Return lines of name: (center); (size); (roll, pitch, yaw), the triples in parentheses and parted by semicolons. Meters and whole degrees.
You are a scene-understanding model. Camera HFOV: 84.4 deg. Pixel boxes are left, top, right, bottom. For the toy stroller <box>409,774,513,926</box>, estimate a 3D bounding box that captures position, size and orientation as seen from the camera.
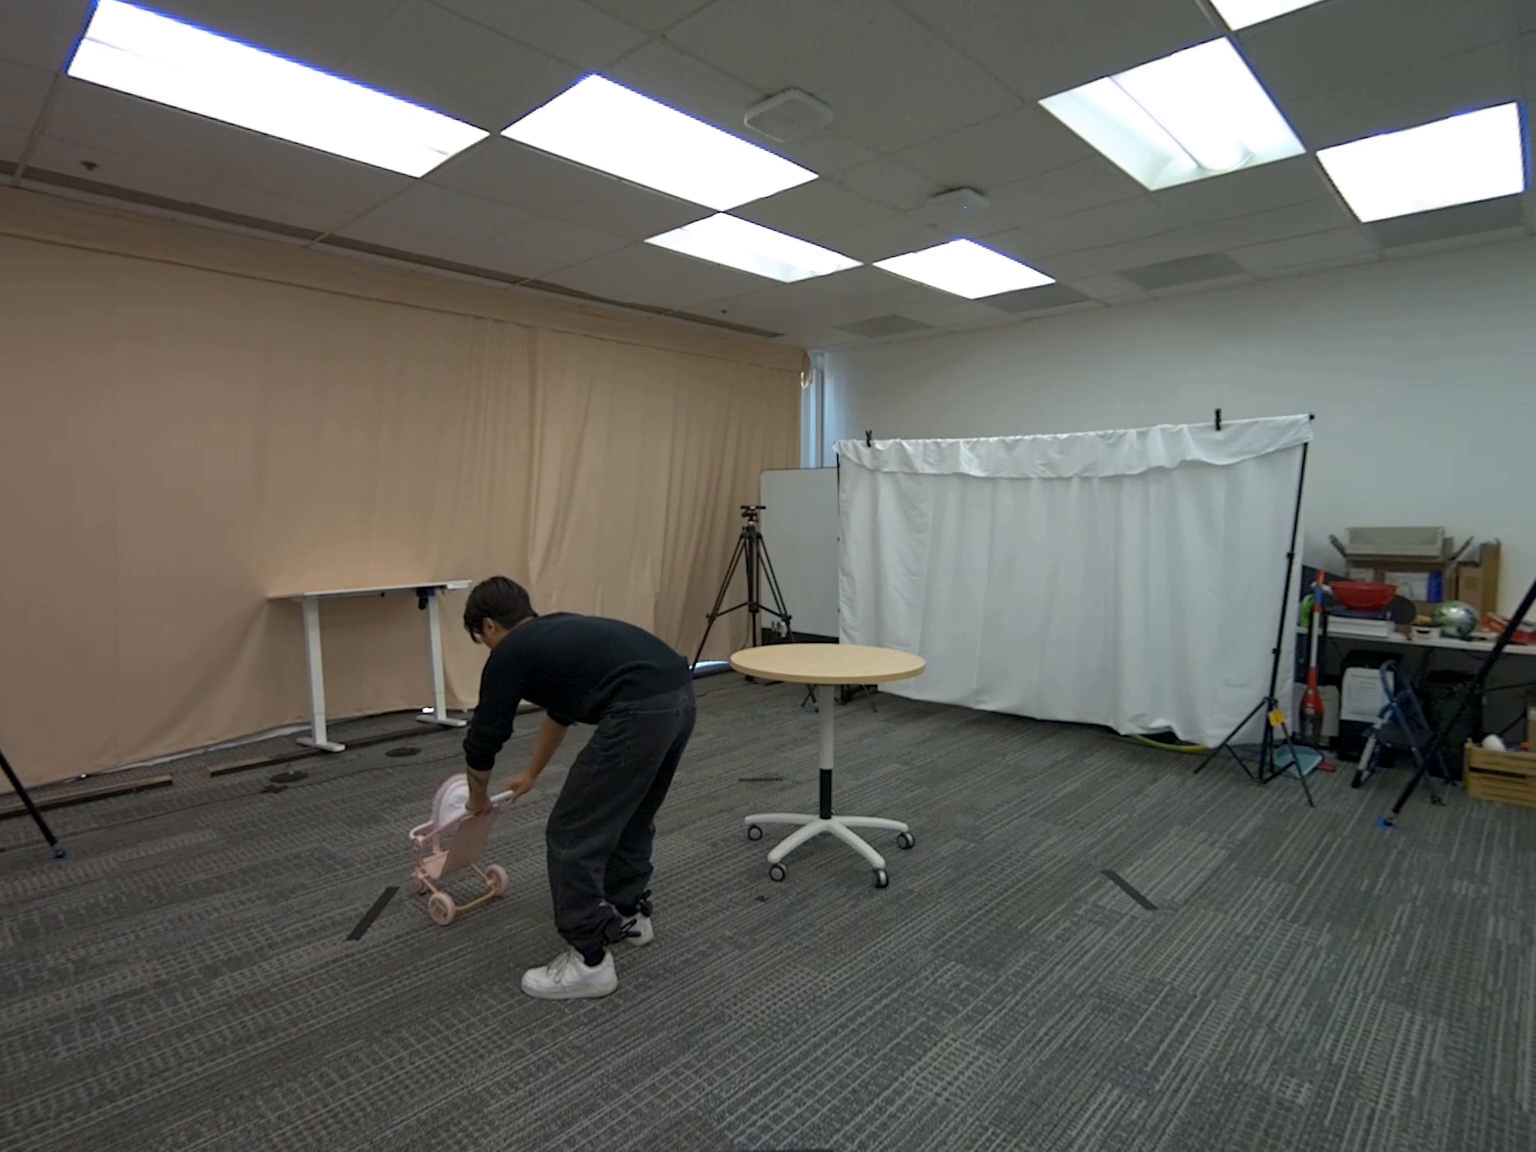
toy stroller: (-1.093, 0.931, 2.943); (0.353, 0.532, 0.273); (21, 14, 32)
